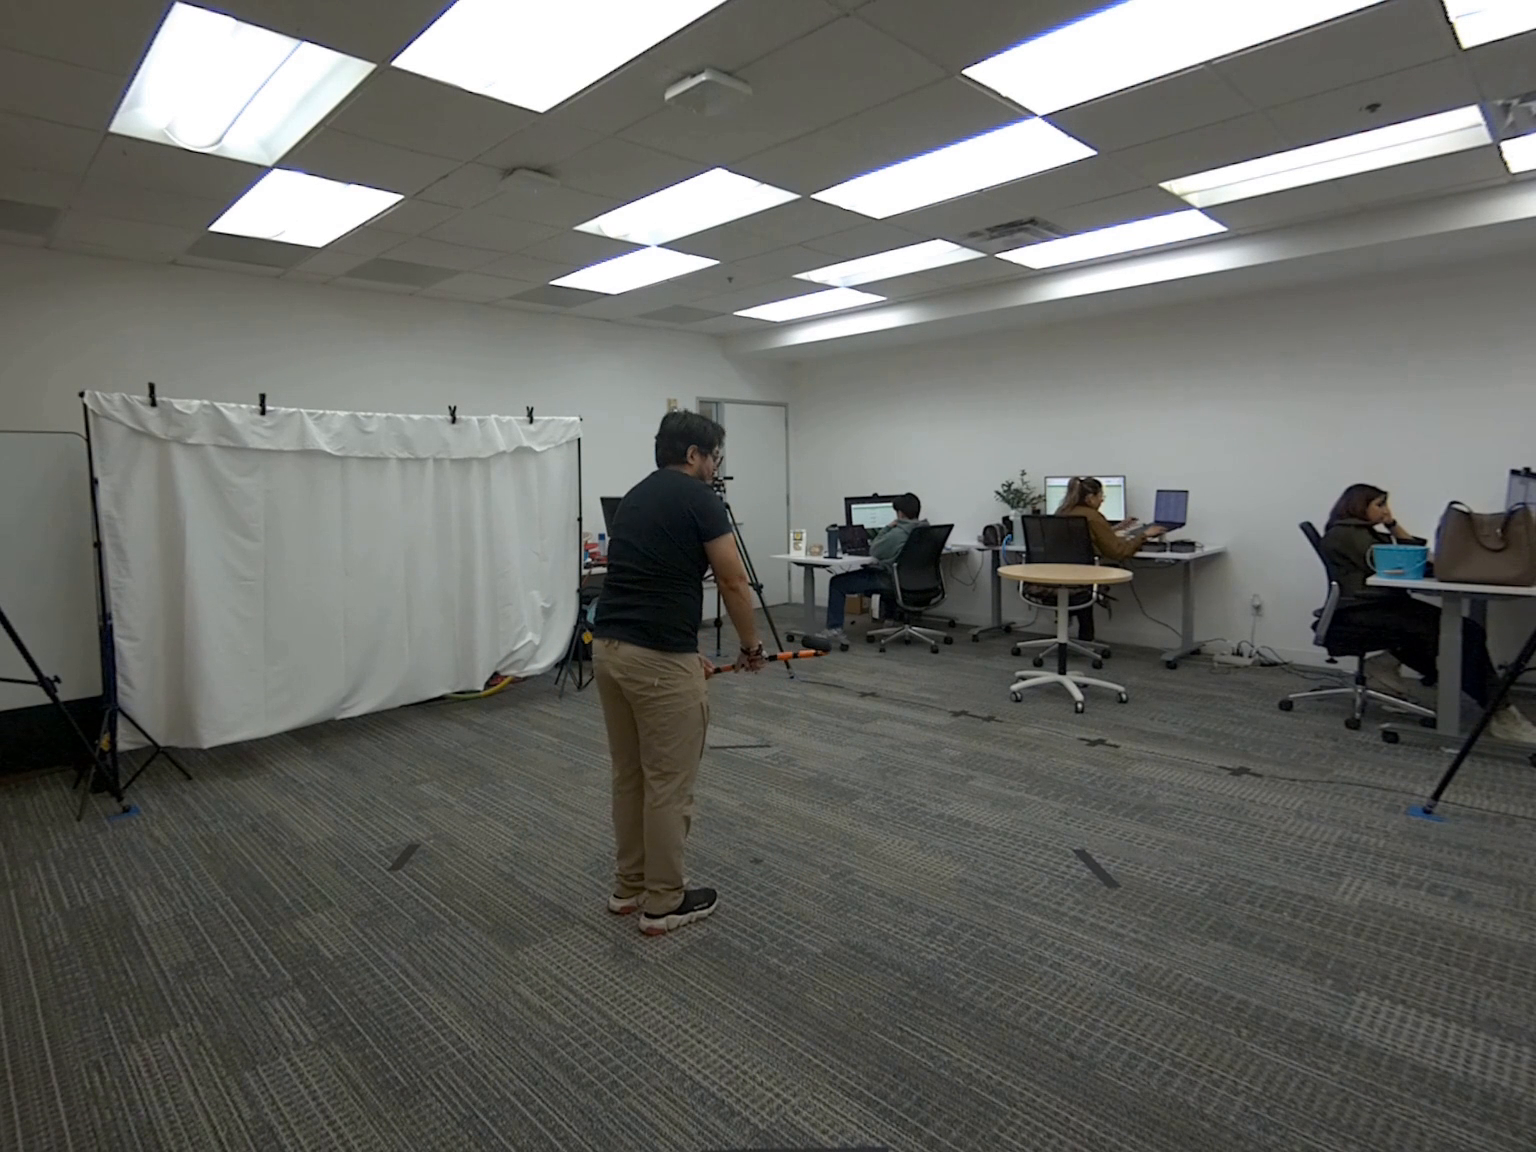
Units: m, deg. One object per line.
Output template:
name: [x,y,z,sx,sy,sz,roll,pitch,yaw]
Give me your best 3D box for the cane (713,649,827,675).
cane: [-0.145,0.347,2.915,0.924,0.154,0.199,-17,-27,37]
